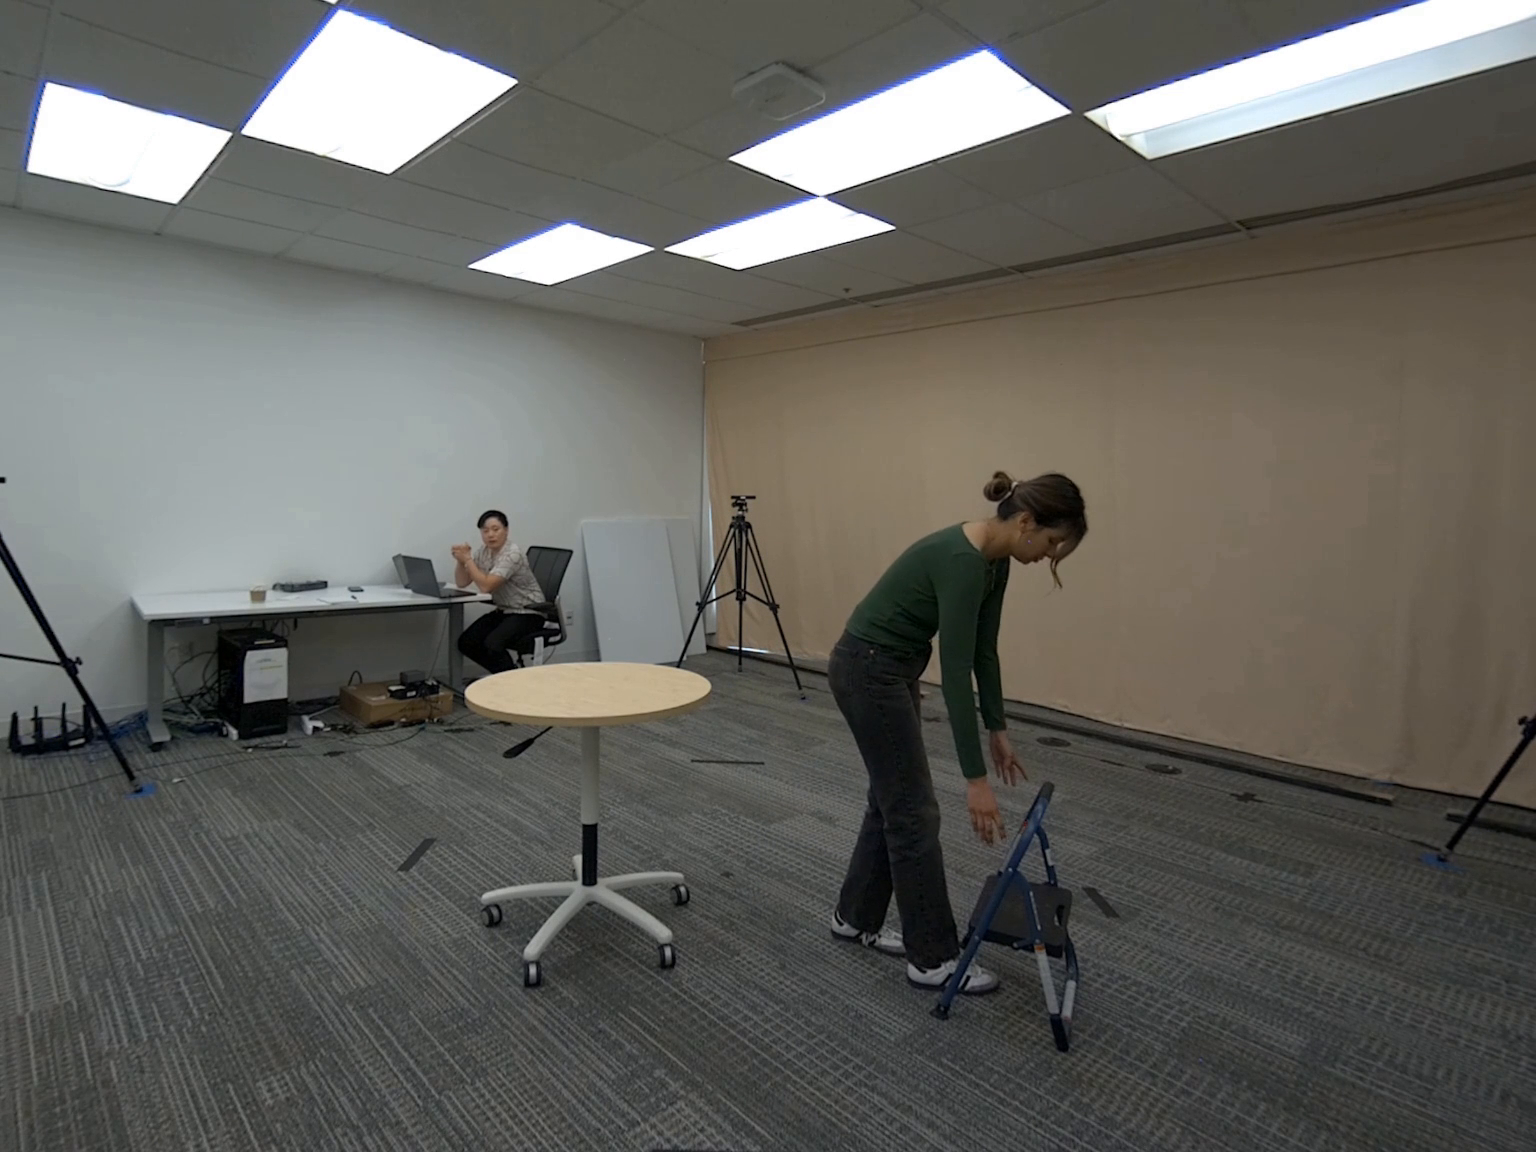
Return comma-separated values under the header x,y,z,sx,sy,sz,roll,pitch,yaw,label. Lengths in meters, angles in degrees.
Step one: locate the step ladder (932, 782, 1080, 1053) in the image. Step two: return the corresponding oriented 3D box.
x,y,z,sx,sy,sz,roll,pitch,yaw,label
0.692,0.888,2.372,0.356,0.604,0.423,4,4,24,step ladder
